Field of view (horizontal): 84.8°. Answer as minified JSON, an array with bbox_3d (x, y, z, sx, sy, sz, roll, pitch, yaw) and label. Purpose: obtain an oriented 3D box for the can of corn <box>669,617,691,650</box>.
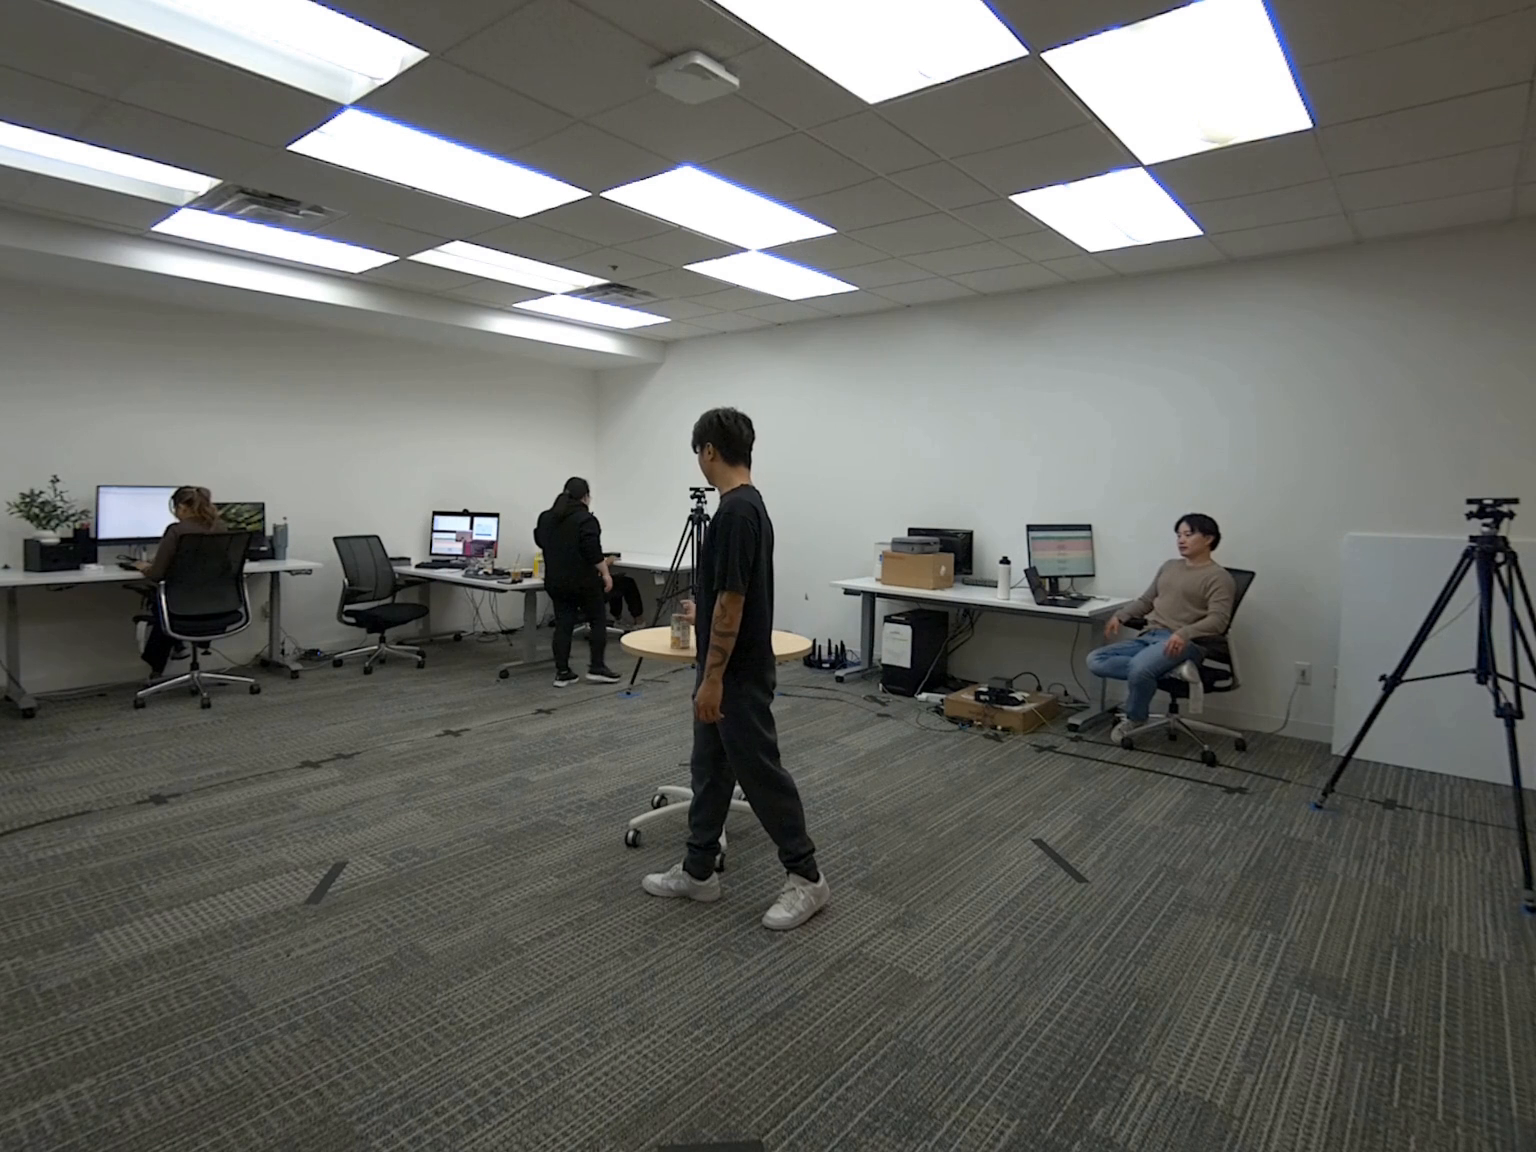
[{"bbox_3d":[-0.344,0.212,3.225,0.074,0.111,0.074,1,2,-2],"label":"can of corn"}]
